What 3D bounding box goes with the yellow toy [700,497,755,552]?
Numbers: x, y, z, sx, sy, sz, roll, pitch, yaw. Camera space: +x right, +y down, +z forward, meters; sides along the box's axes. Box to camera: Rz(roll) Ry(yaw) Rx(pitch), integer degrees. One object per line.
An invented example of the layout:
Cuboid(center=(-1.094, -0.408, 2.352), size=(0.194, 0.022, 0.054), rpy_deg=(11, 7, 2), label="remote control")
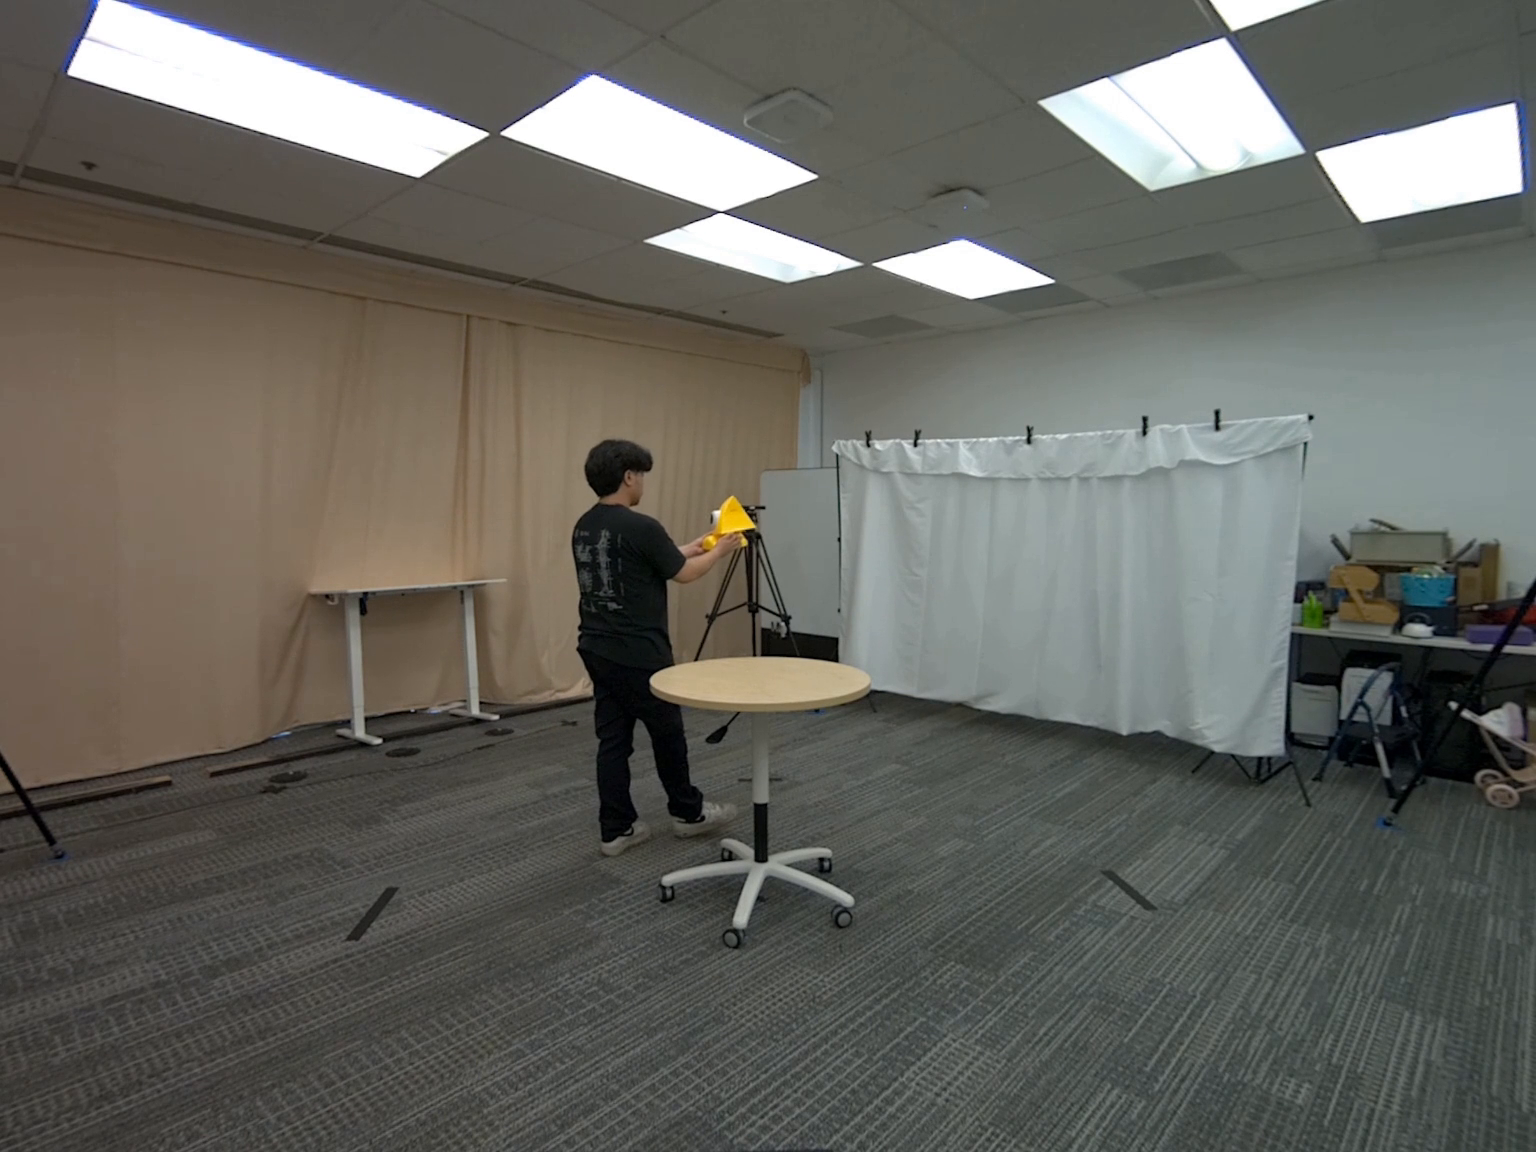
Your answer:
Cuboid(center=(-0.189, -0.244, 3.732), size=(0.199, 0.229, 0.200), rpy_deg=(-11, 14, -42), label="yellow toy")
